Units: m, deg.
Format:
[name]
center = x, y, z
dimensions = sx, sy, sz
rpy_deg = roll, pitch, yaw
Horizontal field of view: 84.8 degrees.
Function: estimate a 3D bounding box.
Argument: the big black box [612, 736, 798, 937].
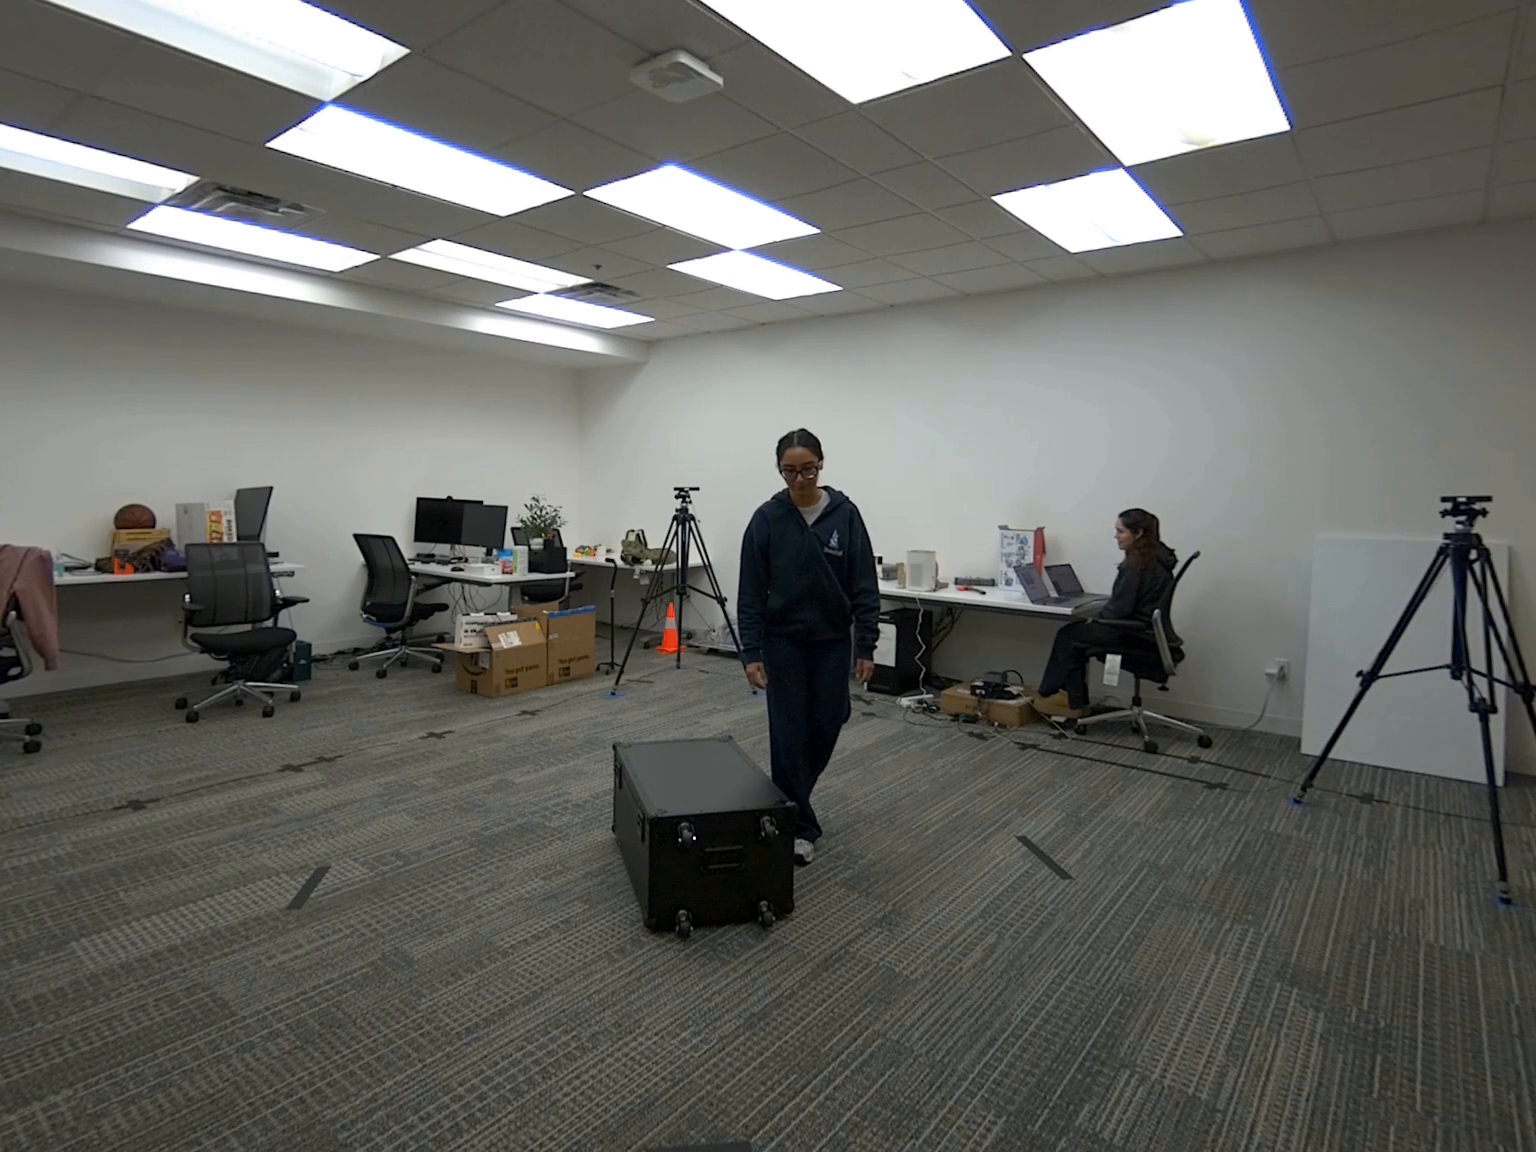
[big black box]
center = -0.265, 0.884, 3.014
dimensions = 0.512, 0.395, 0.880
rpy_deg = 0, 5, -18
